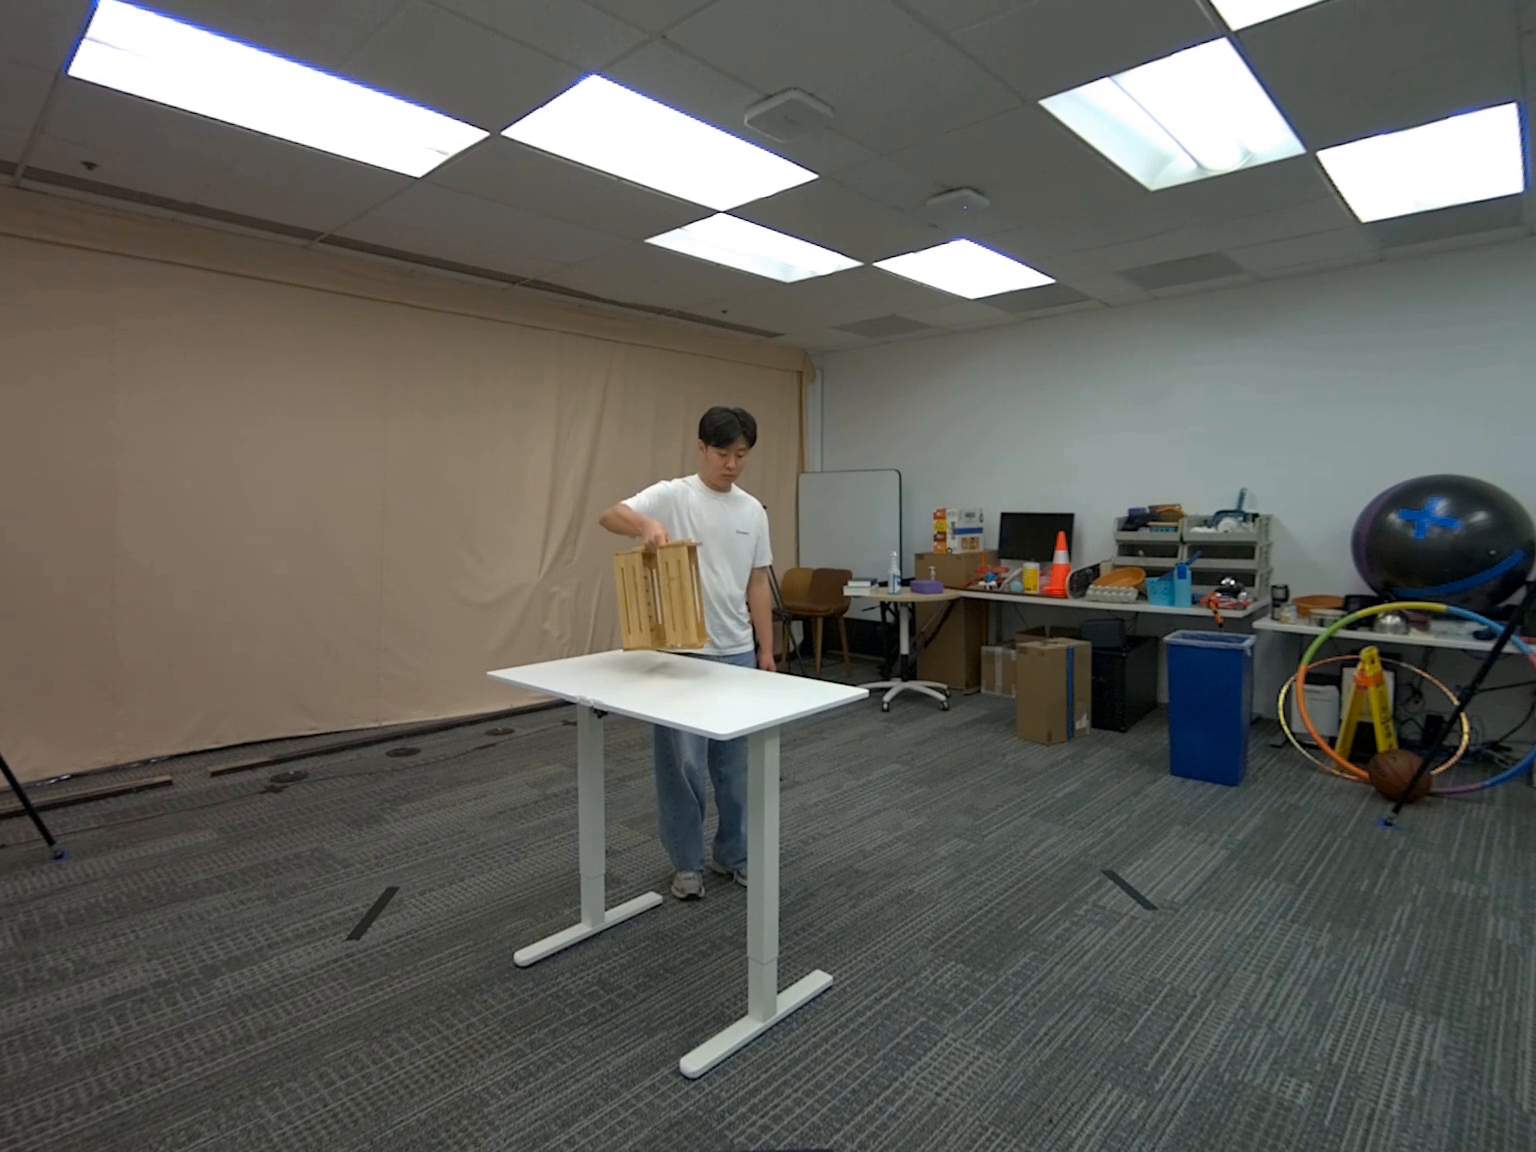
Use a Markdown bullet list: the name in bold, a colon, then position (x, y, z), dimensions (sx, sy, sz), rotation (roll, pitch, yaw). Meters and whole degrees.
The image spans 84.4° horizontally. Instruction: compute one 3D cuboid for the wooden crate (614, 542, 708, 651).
- **wooden crate**: position (-0.297, 0.063, 2.604), dimensions (0.278, 0.325, 0.296), rotation (-7, -1, 19)
